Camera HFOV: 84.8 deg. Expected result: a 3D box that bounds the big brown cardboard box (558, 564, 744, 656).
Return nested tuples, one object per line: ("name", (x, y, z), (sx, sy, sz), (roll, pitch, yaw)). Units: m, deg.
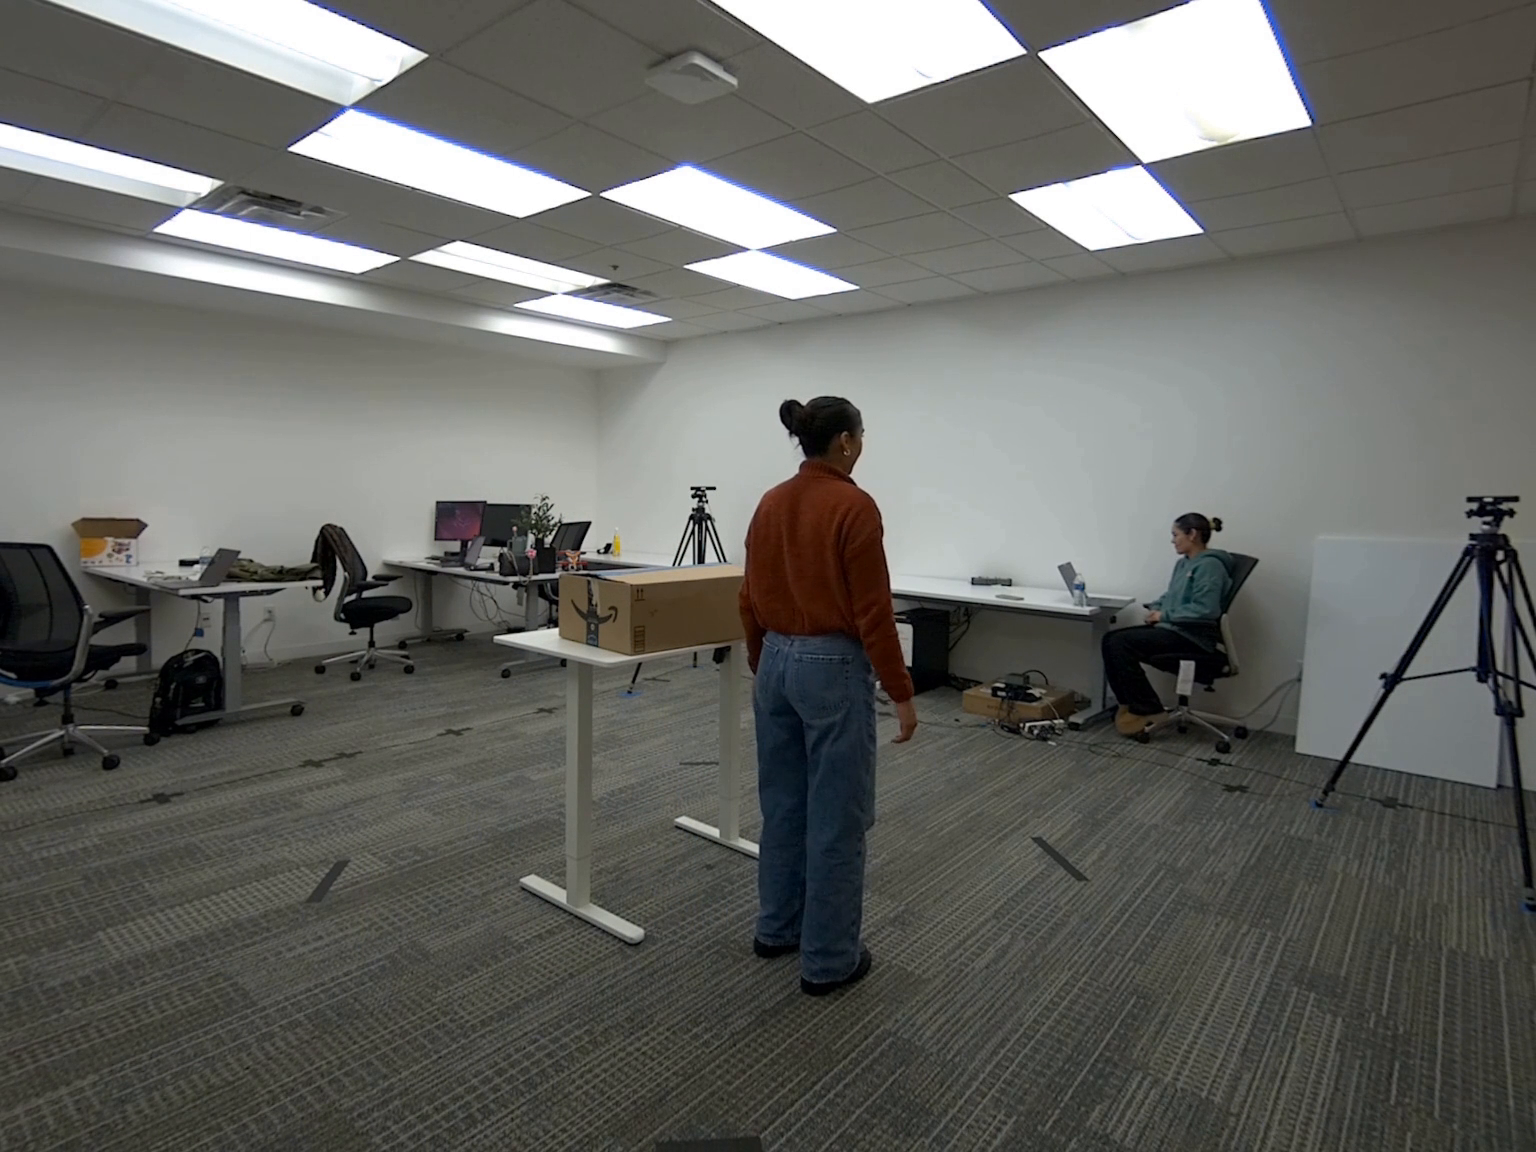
("big brown cardboard box", (-0.364, 0.096, 2.872), (0.572, 0.232, 0.432), (-6, 8, -44))
